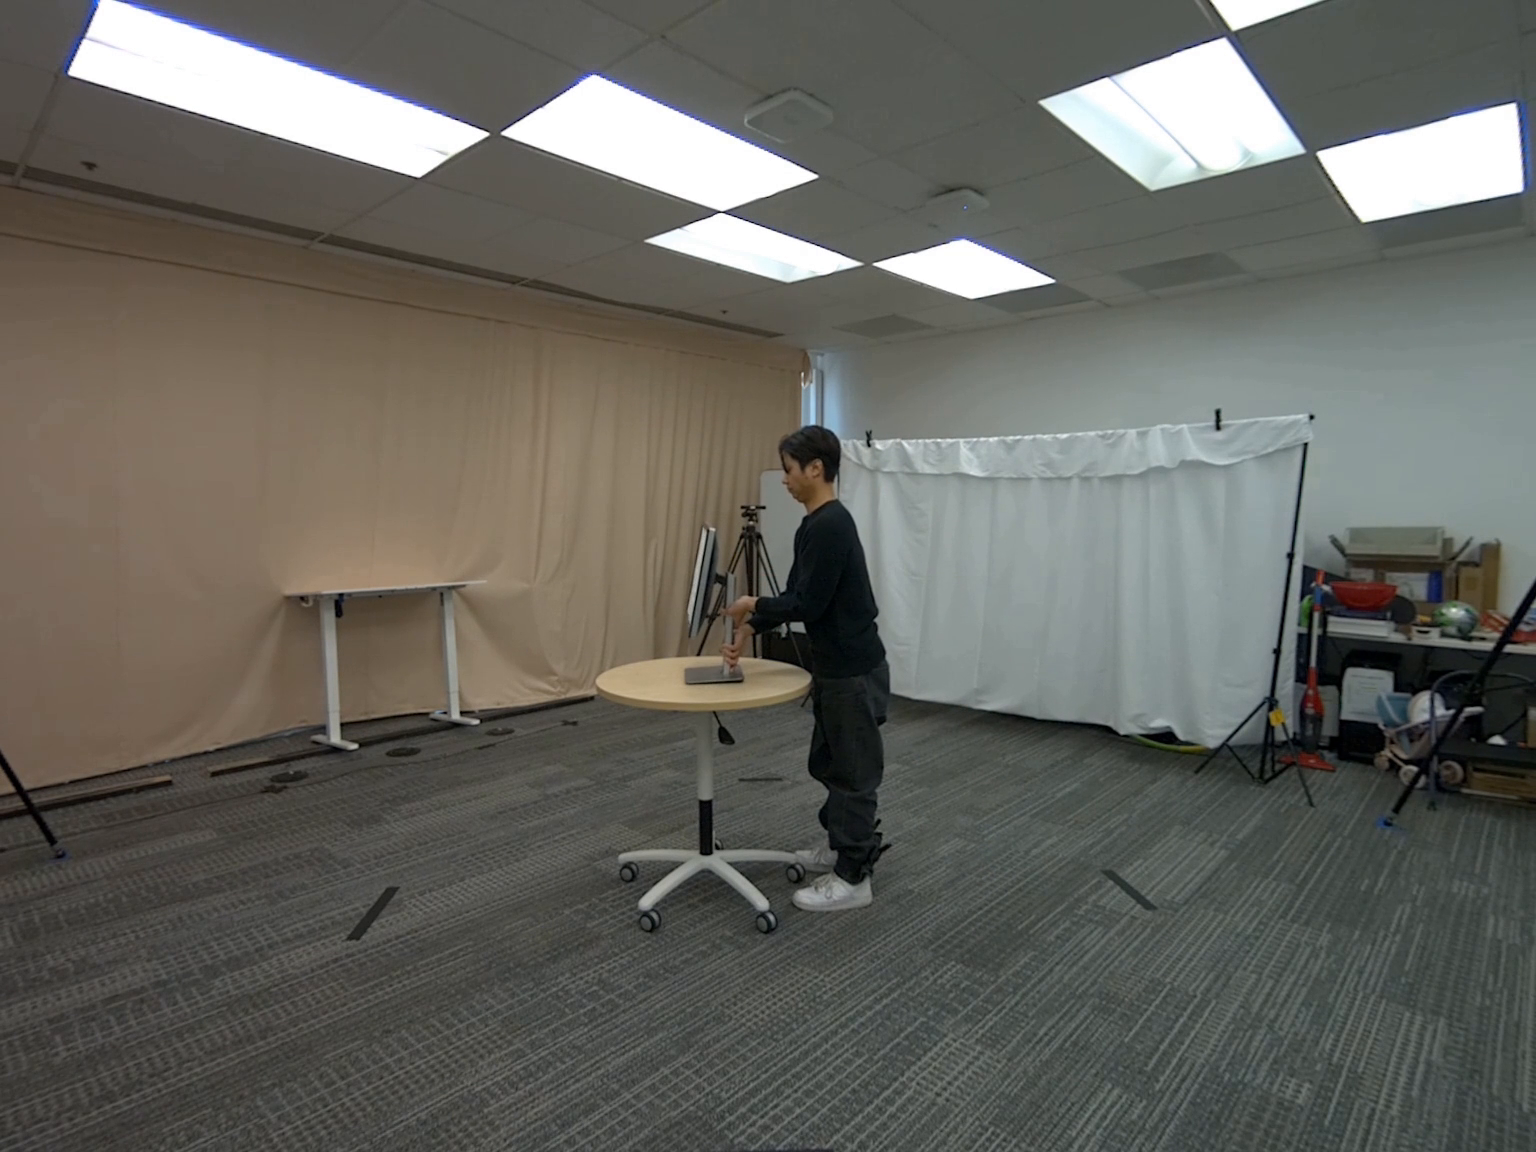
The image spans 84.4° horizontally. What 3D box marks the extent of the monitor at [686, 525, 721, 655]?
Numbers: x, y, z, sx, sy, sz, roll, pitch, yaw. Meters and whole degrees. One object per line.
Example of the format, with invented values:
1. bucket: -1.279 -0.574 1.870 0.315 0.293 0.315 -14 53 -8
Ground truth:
1. monitor: -0.192 0.099 2.998 0.186 0.522 0.543 -2 2 -7
